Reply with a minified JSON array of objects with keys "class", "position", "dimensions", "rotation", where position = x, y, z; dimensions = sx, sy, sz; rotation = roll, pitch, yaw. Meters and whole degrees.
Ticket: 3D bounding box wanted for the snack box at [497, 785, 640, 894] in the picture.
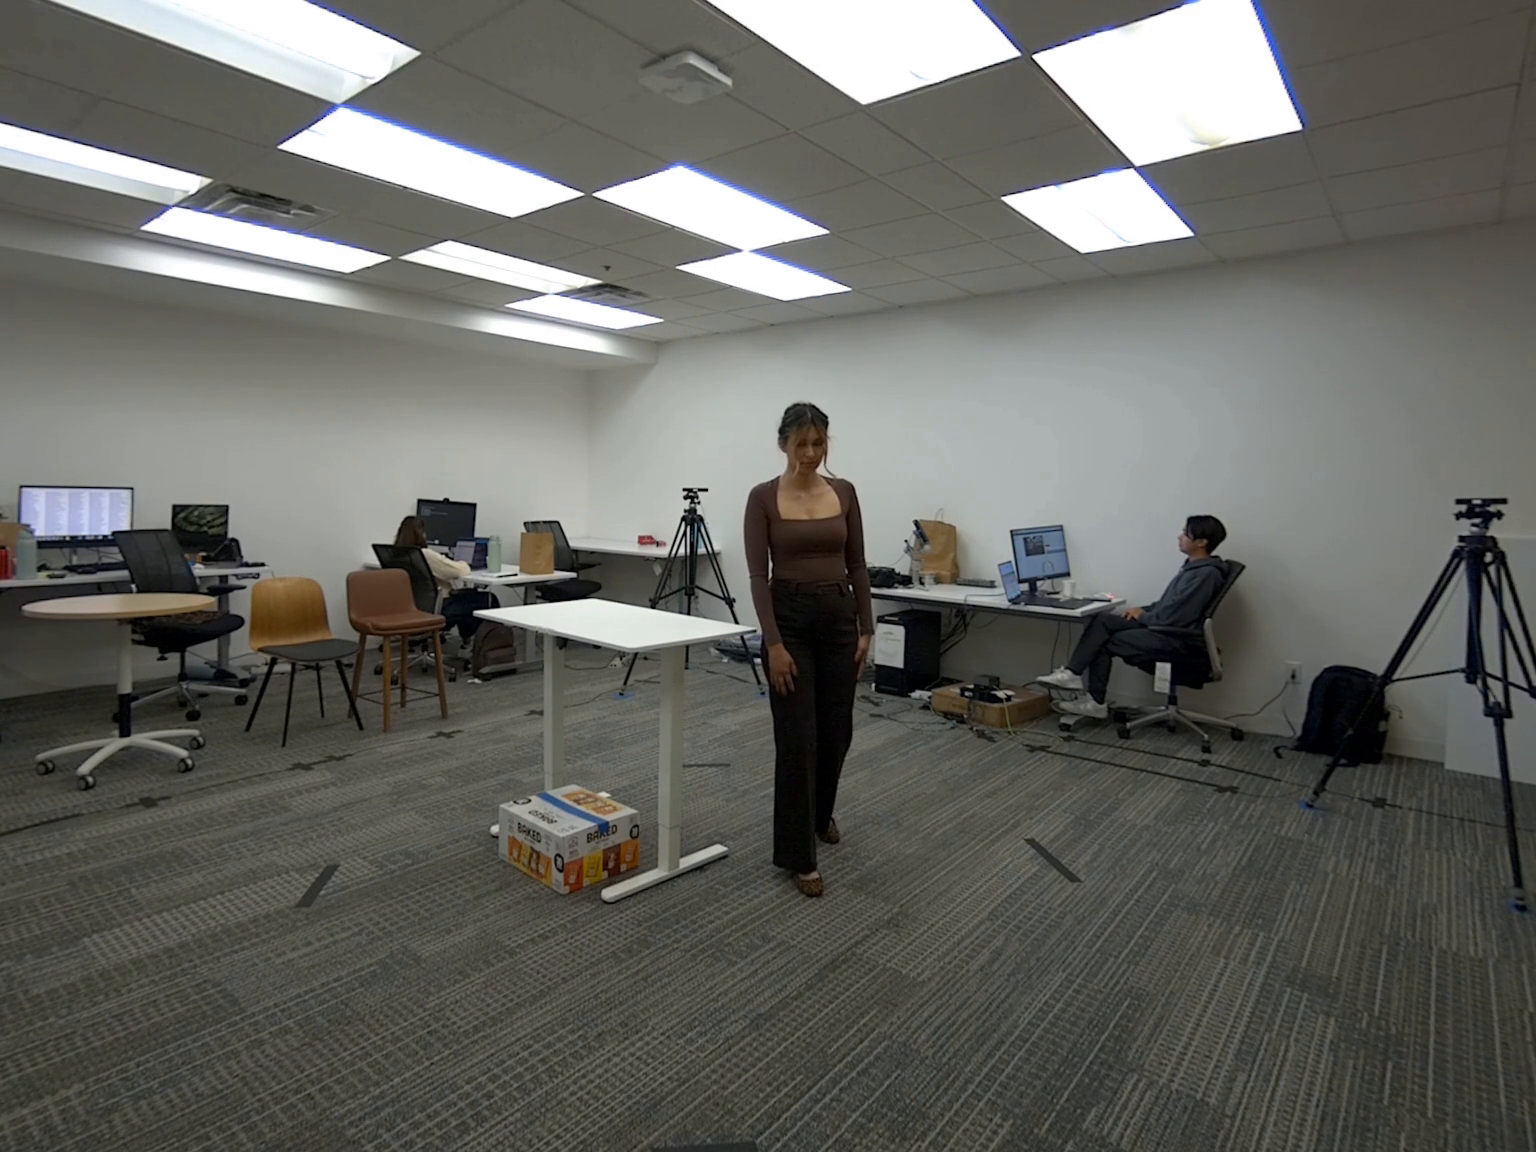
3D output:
[{"class":"snack box","position":[-0.748,0.958,3.139],"dimensions":[0.419,0.205,0.330],"rotation":[5,6,42]}]
